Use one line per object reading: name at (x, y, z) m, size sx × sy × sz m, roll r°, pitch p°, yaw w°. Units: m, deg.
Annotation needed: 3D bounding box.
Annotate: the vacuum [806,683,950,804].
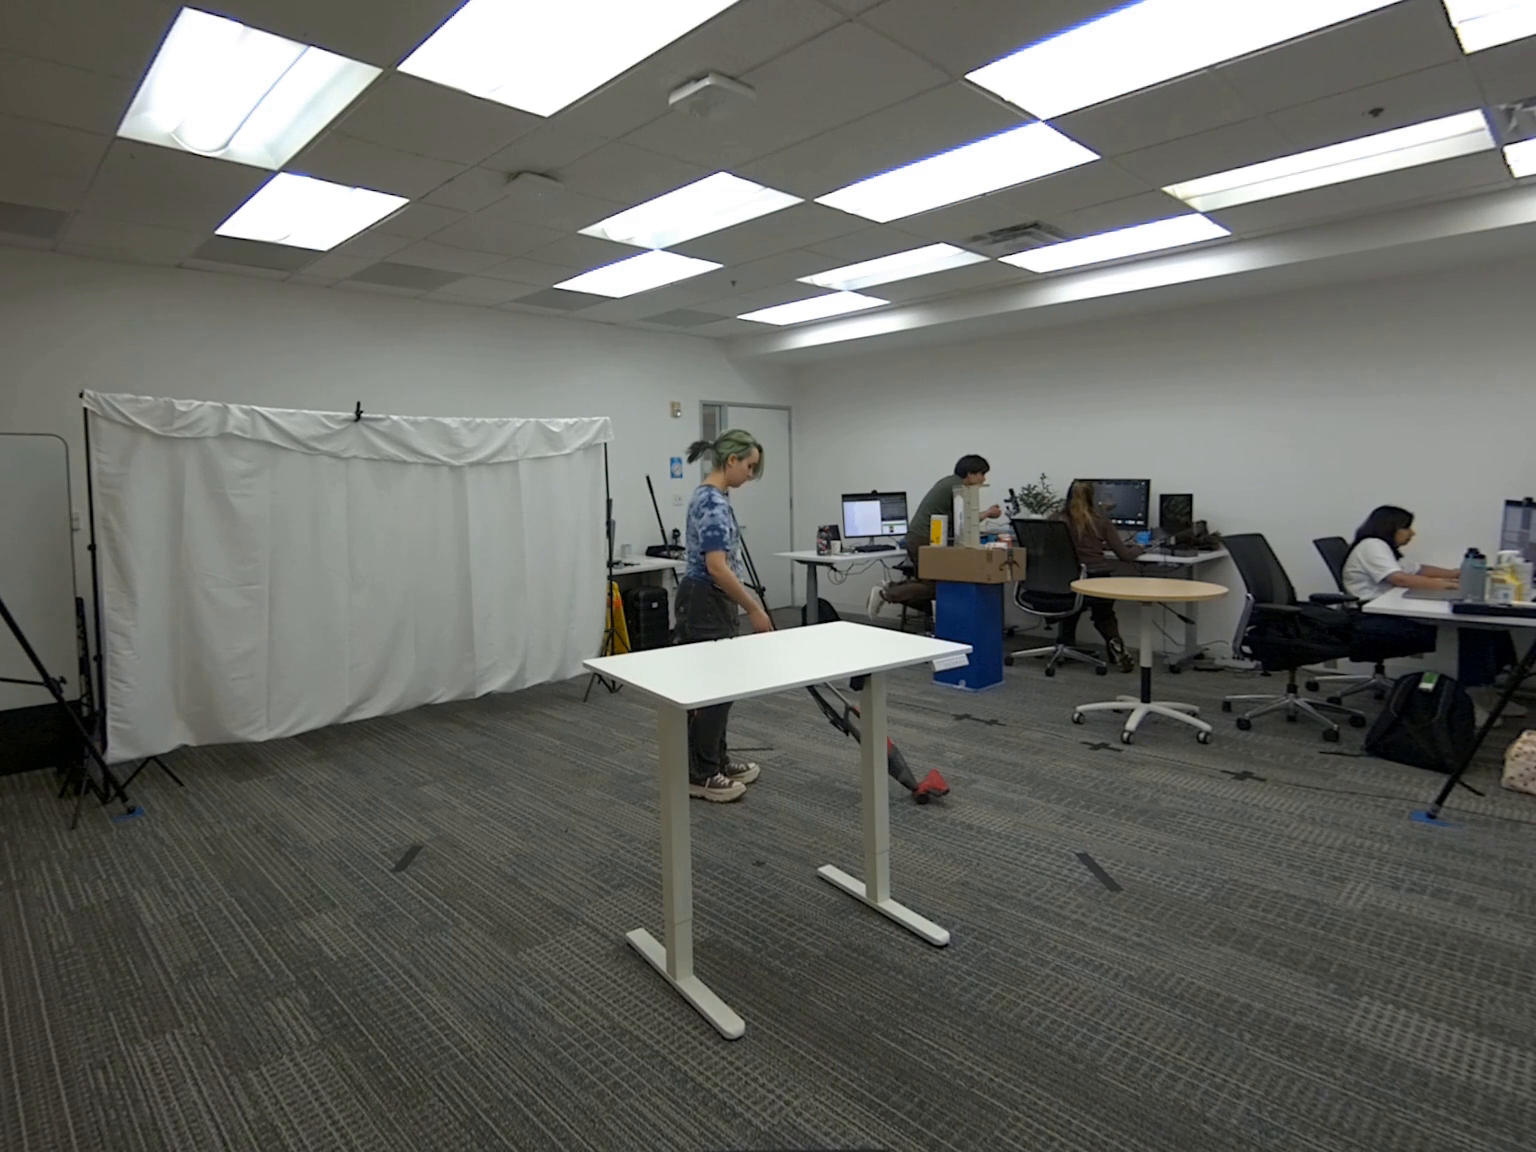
vacuum at (0.328, 0.594, 3.697) m, size 1.048 × 0.144 × 0.253 m, roll 42°, pitch 3°, yaw -1°
